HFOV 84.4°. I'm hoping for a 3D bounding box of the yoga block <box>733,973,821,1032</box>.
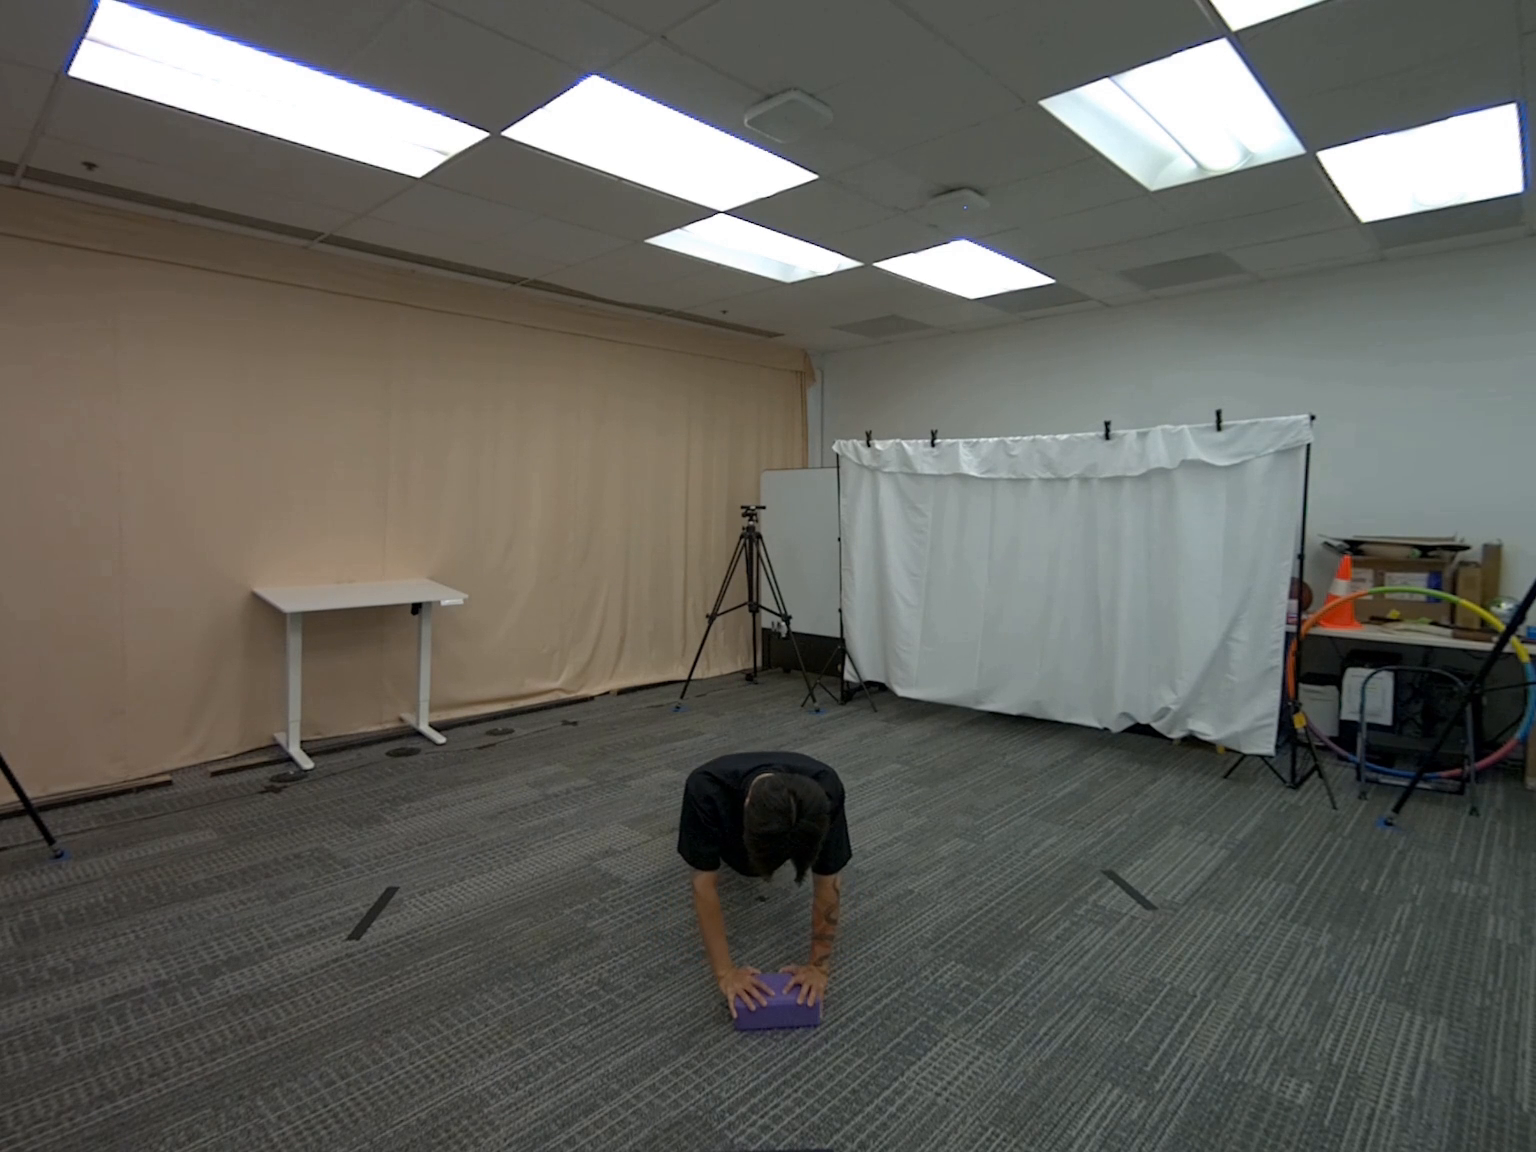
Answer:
[{"bbox_3d":[0.009,1.166,2.305,0.227,0.076,0.151,-3,6,-9],"label":"yoga block"}]
